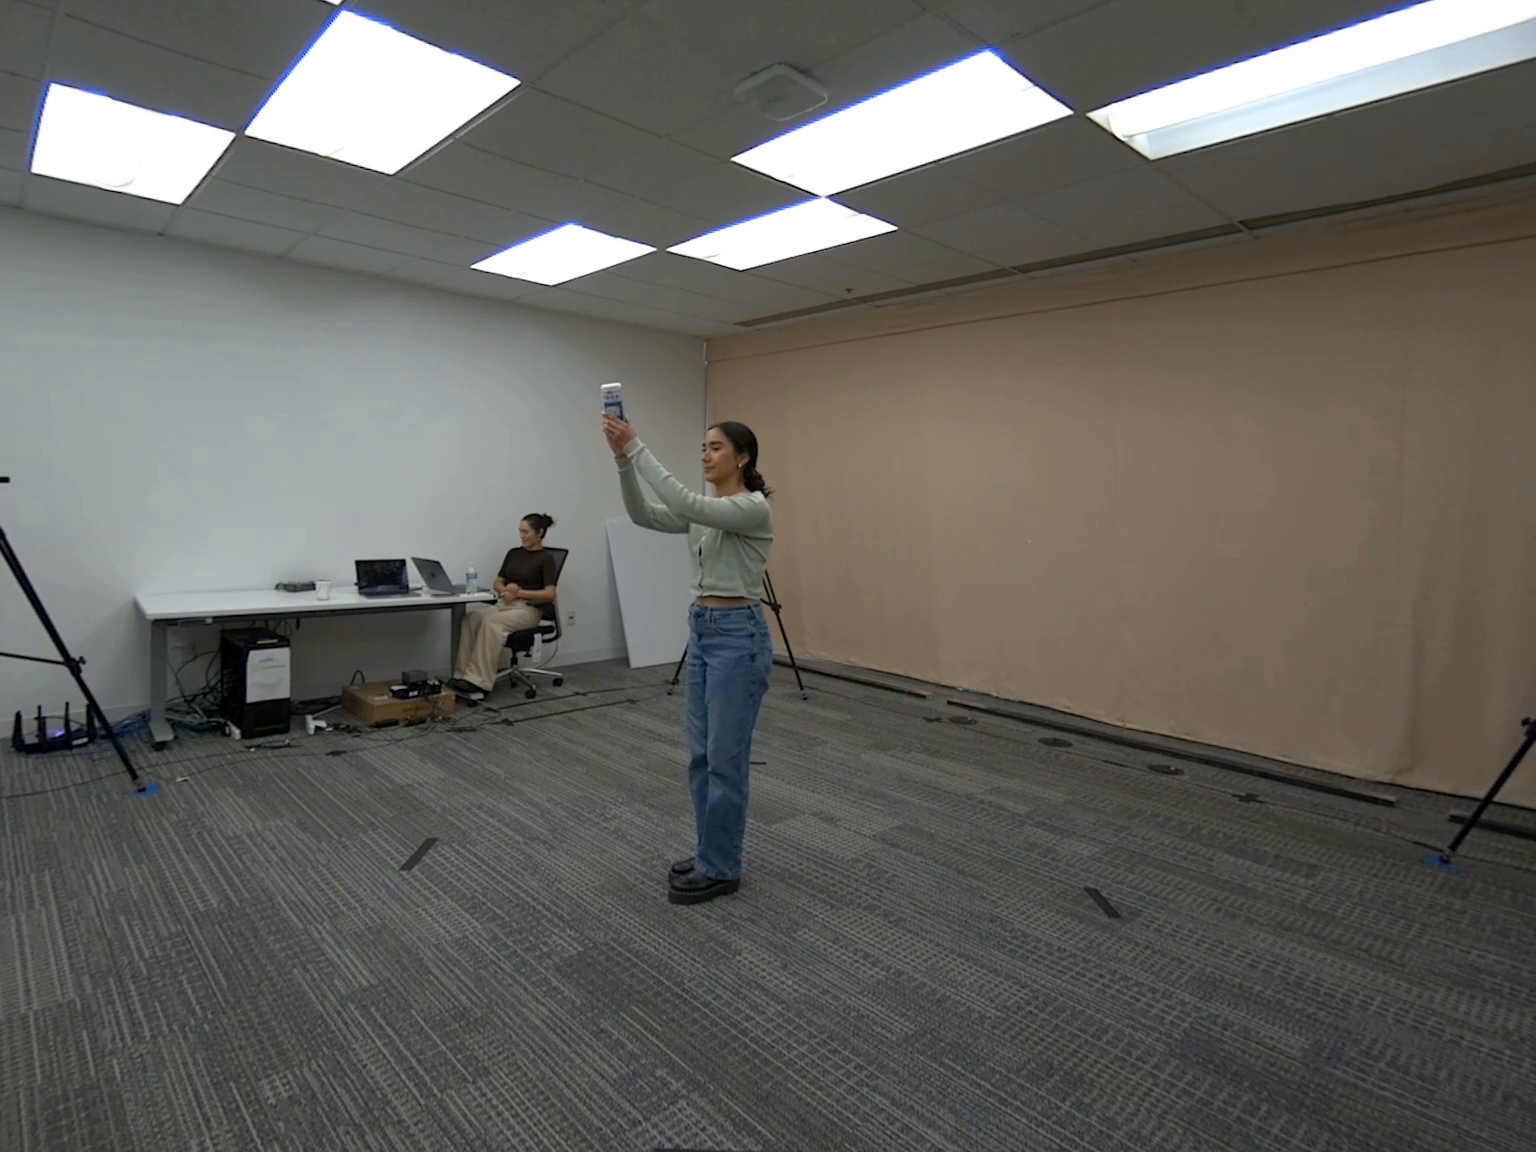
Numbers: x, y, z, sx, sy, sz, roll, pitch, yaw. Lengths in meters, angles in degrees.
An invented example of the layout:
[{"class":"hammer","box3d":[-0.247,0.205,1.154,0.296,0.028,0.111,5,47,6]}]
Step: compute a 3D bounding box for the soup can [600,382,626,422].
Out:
[{"class":"soup can","box3d":[-0.502,-0.562,2.726,0.067,0.120,0.068,-6,16,0]}]
